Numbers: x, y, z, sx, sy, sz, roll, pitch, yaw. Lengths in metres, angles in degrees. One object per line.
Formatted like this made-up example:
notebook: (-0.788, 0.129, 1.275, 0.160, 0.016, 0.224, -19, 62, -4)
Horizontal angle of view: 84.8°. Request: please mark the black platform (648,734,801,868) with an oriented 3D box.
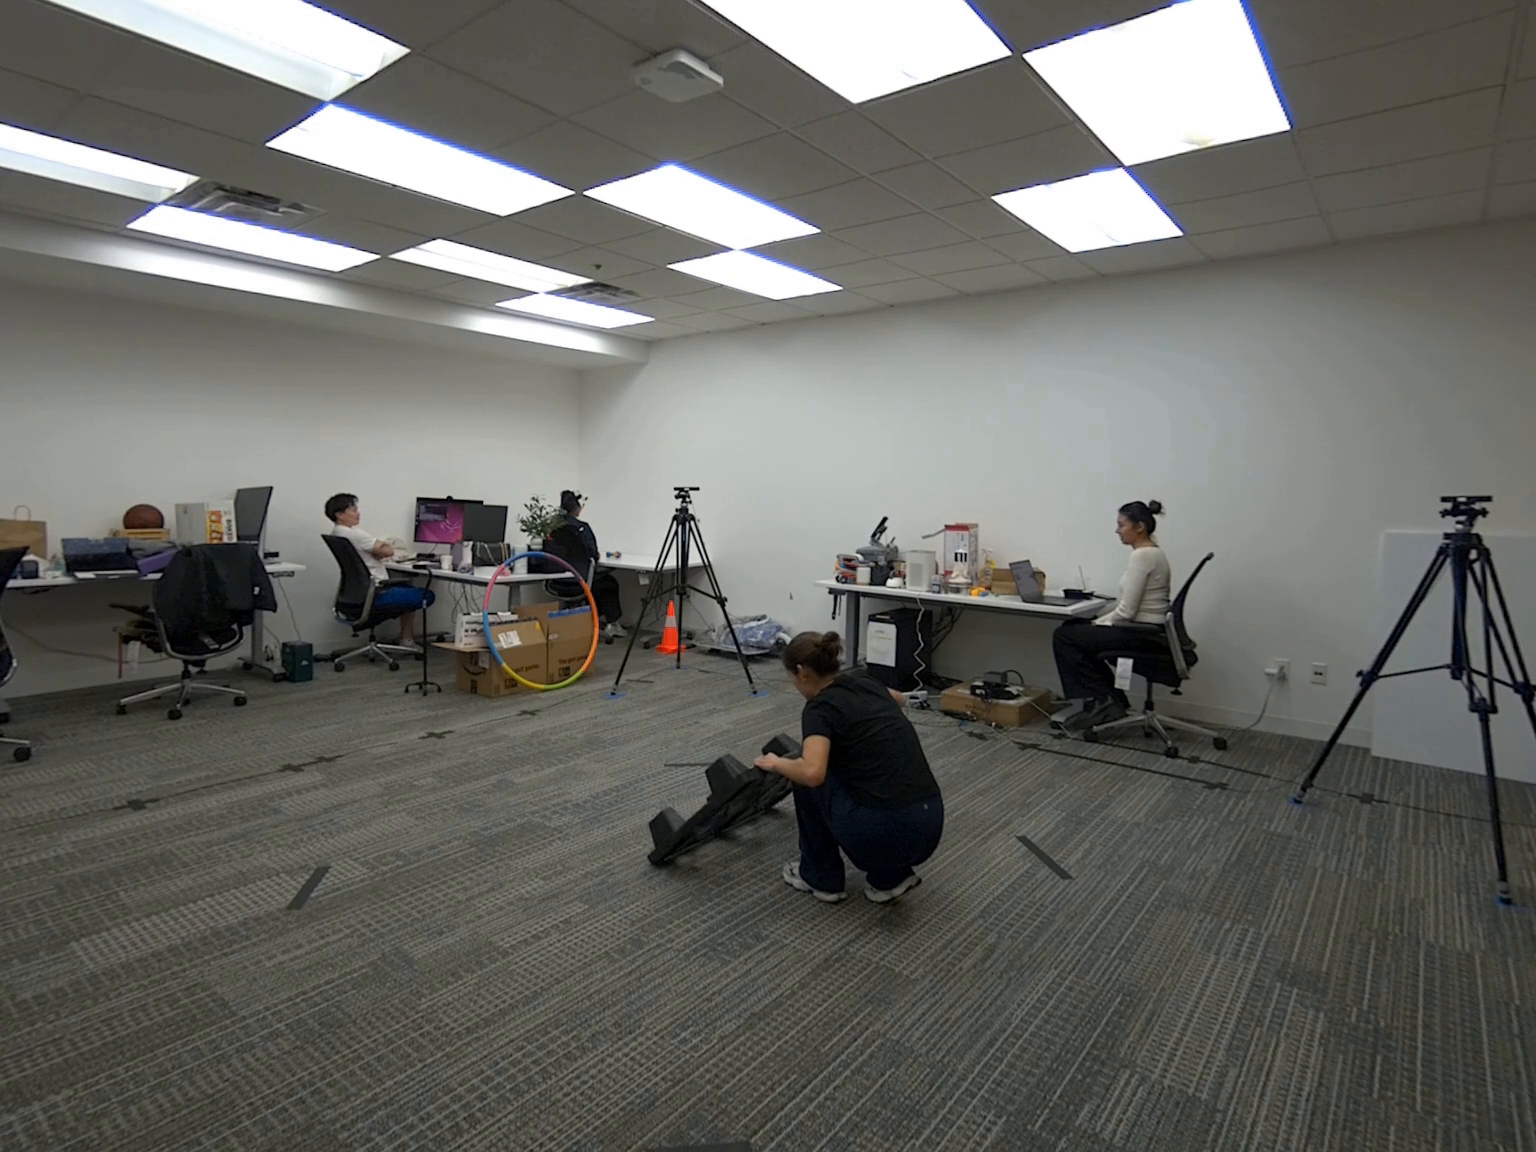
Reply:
black platform: (-0.042, 0.796, 3.315, 0.782, 0.147, 0.605, -5, -35, -52)
